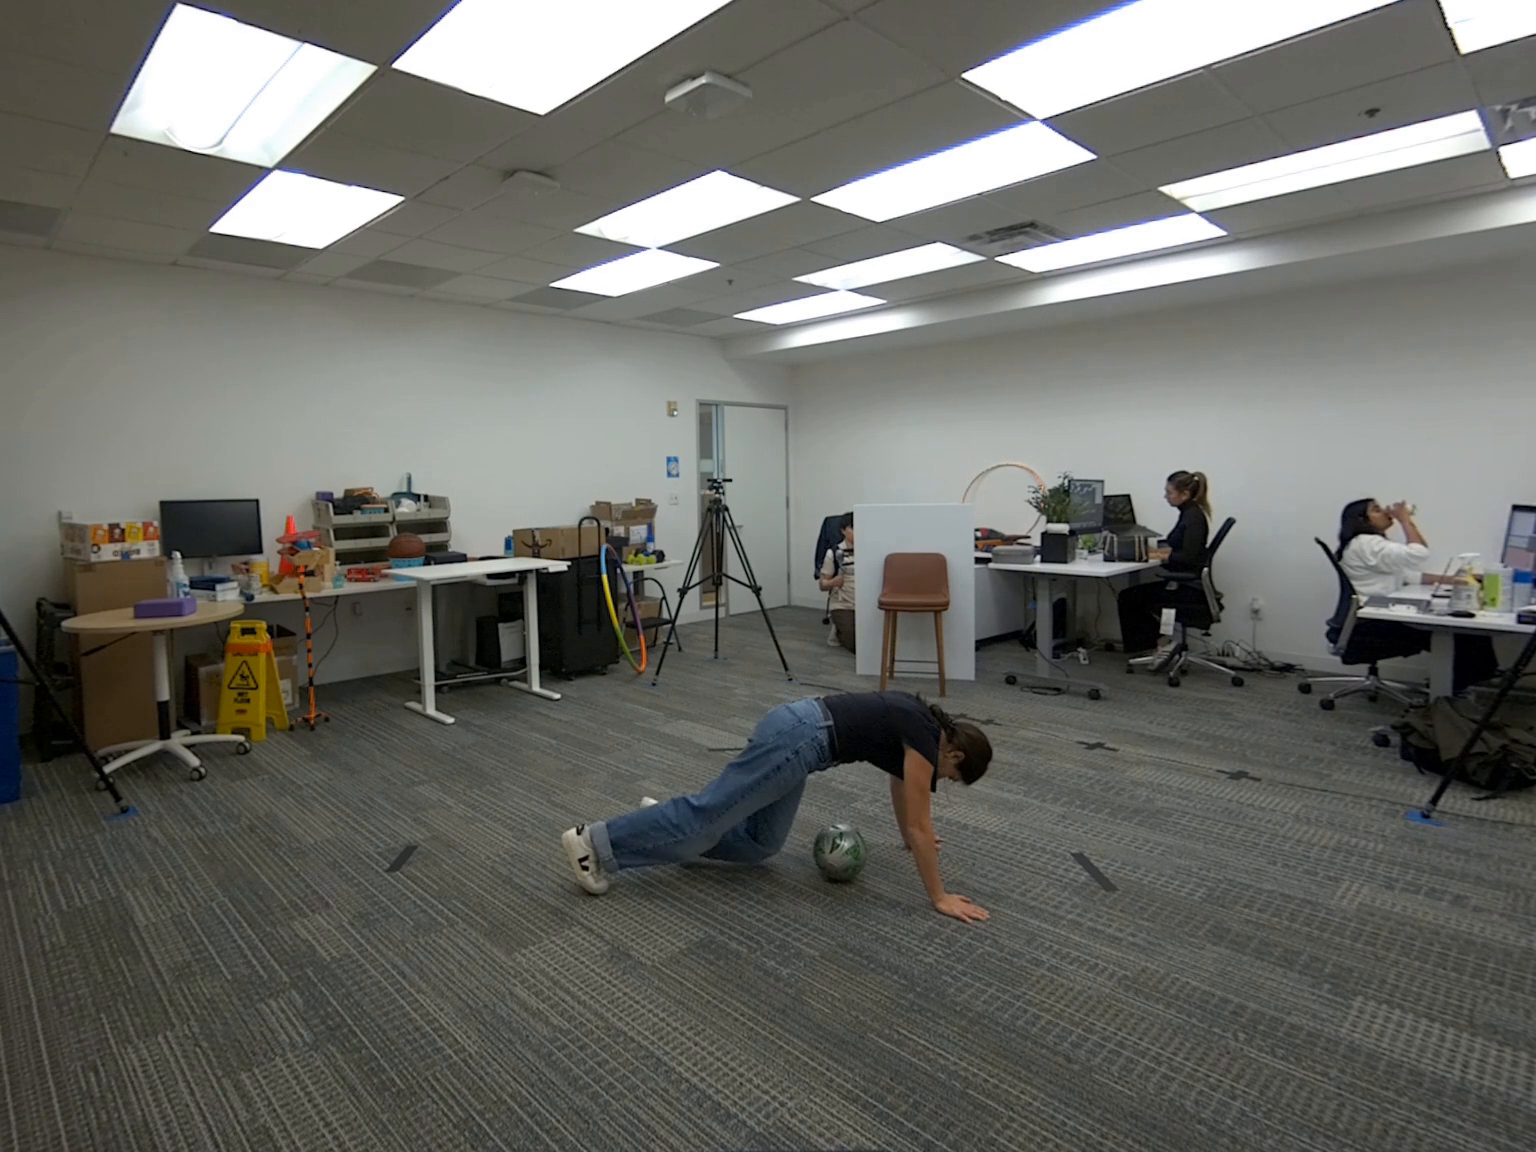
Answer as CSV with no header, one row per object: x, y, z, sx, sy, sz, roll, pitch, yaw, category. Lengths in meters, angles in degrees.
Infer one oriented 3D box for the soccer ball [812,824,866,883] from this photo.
0.253,0.959,2.977,0.187,0.187,0.188,-1,5,-2,soccer ball
